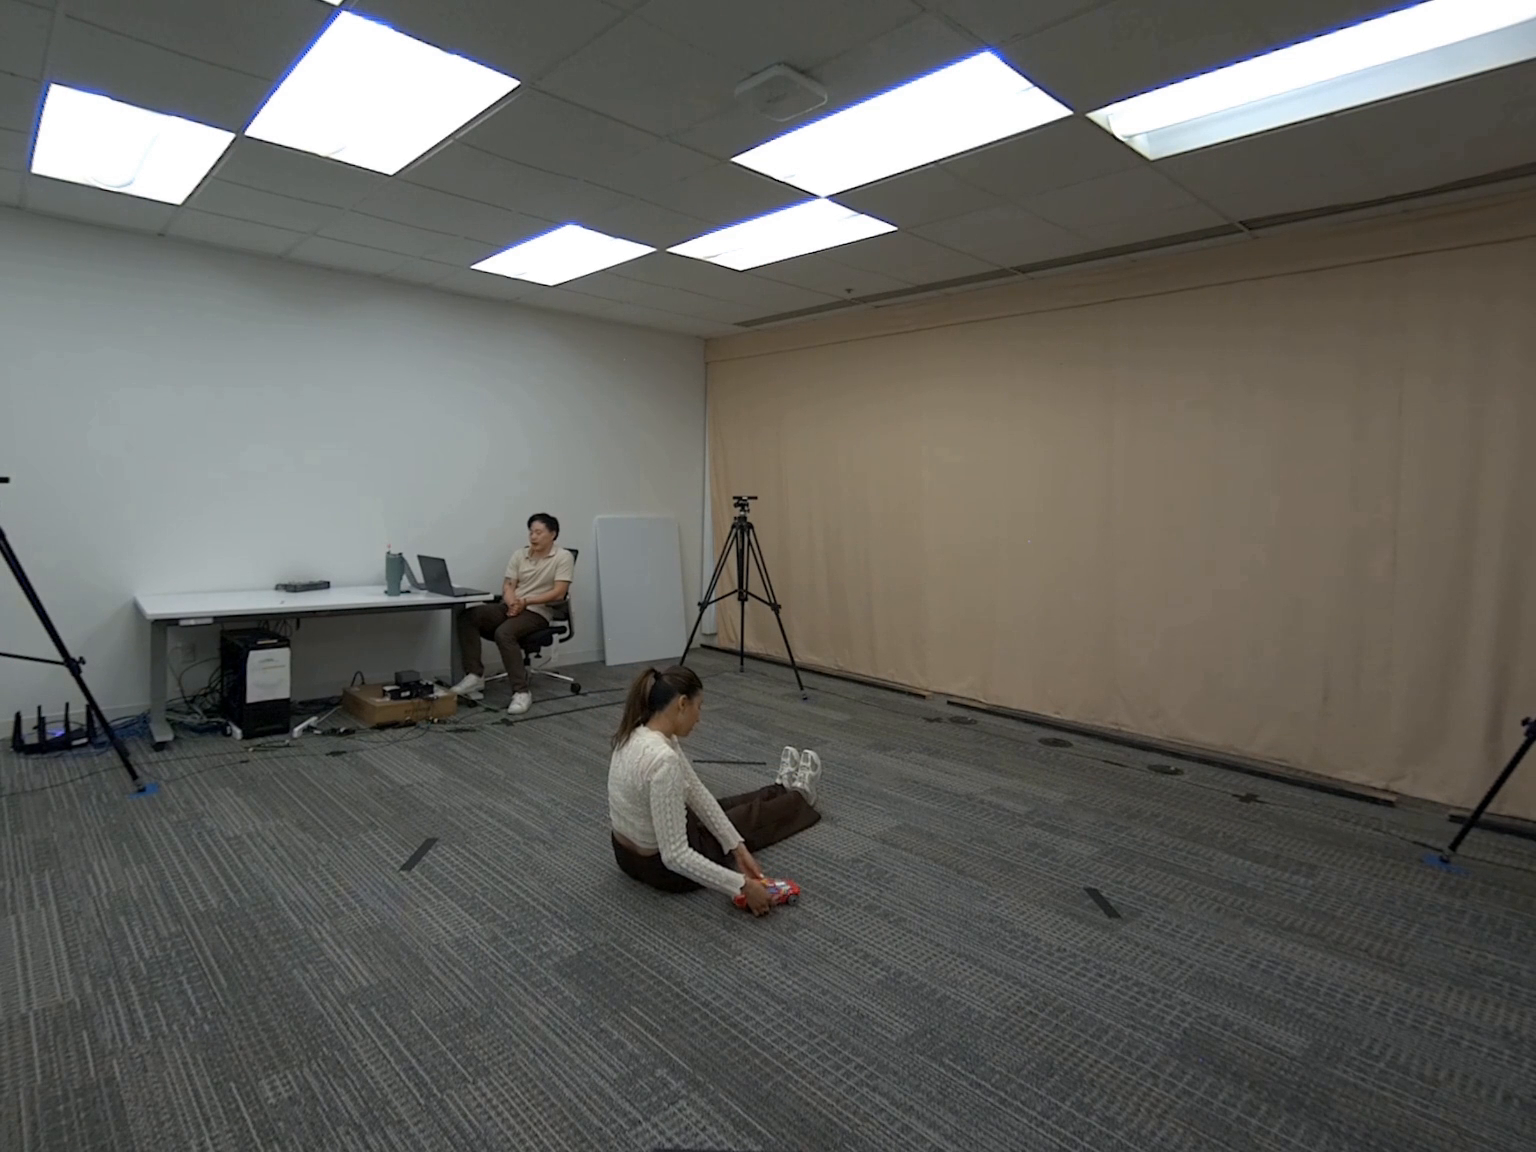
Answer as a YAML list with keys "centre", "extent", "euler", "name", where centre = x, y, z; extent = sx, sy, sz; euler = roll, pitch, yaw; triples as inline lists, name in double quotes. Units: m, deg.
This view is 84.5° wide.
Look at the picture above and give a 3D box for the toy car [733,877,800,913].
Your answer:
- centre: [-0.031, 1.095, 2.889]
  extent: [0.250, 0.083, 0.133]
  euler: [9, 1, -22]
  name: "toy car"
